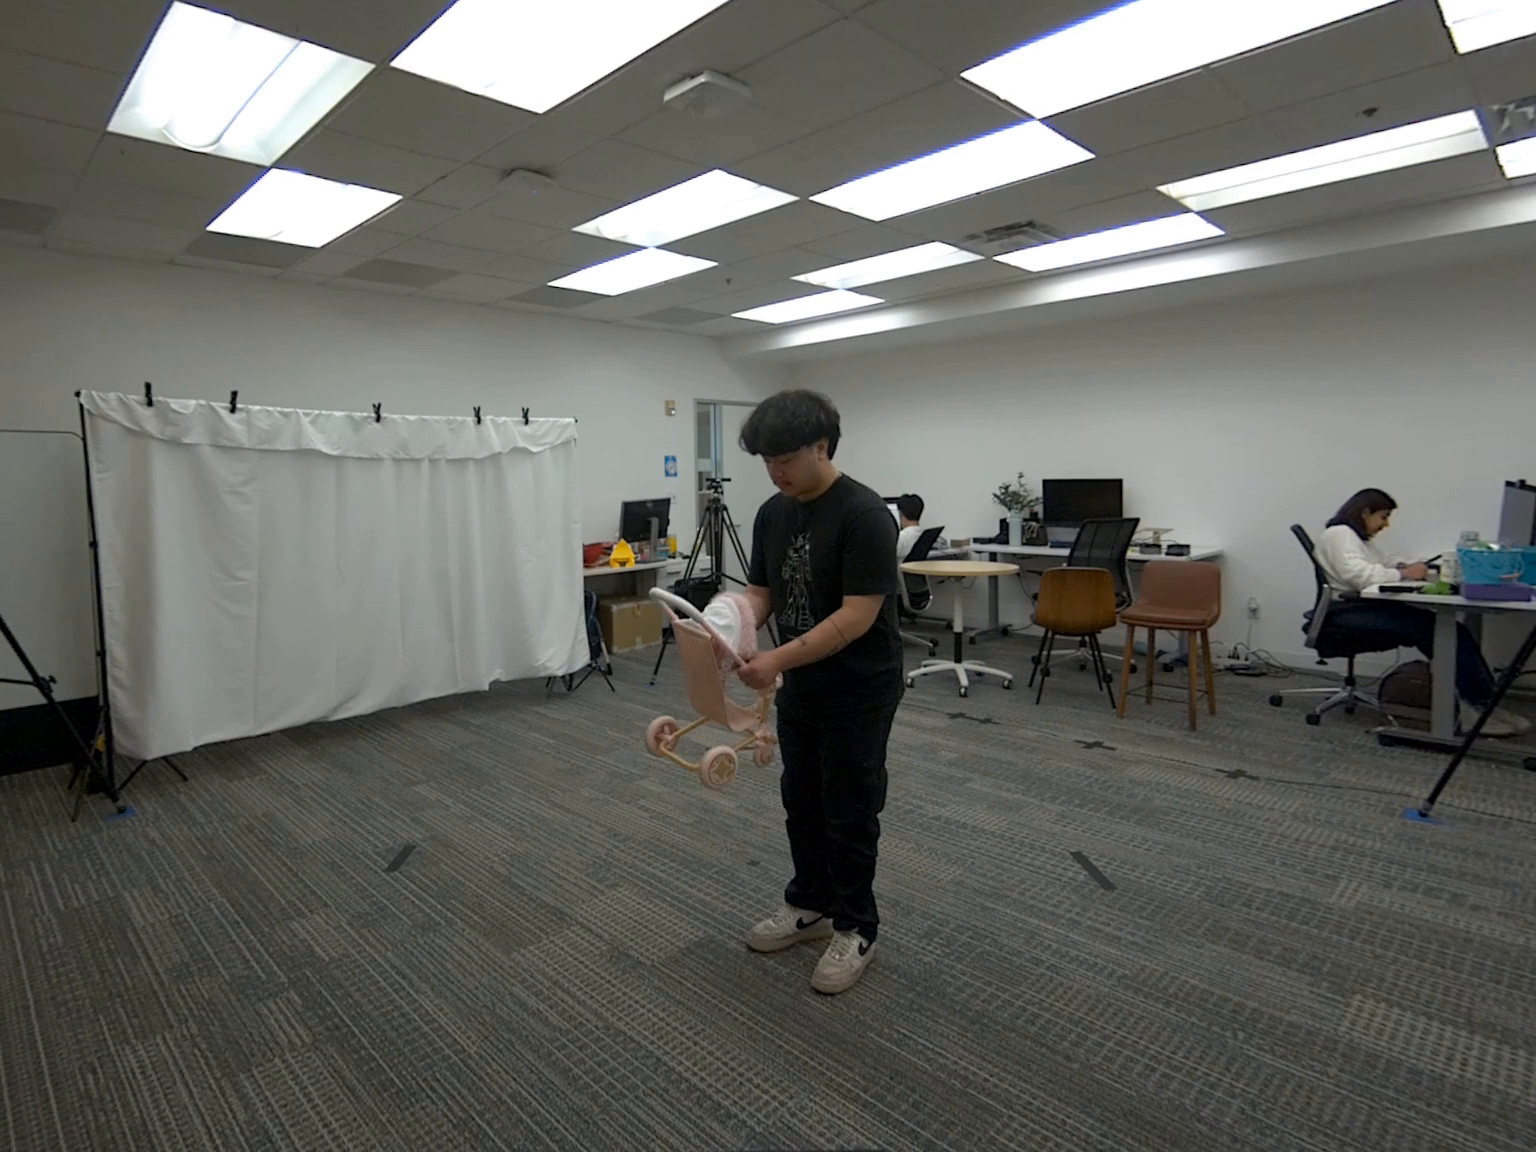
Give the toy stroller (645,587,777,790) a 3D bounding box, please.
[{"bbox_3d":[-0.115,0.294,2.212,0.333,0.530,0.290,-7,11,-34],"label":"toy stroller"}]
